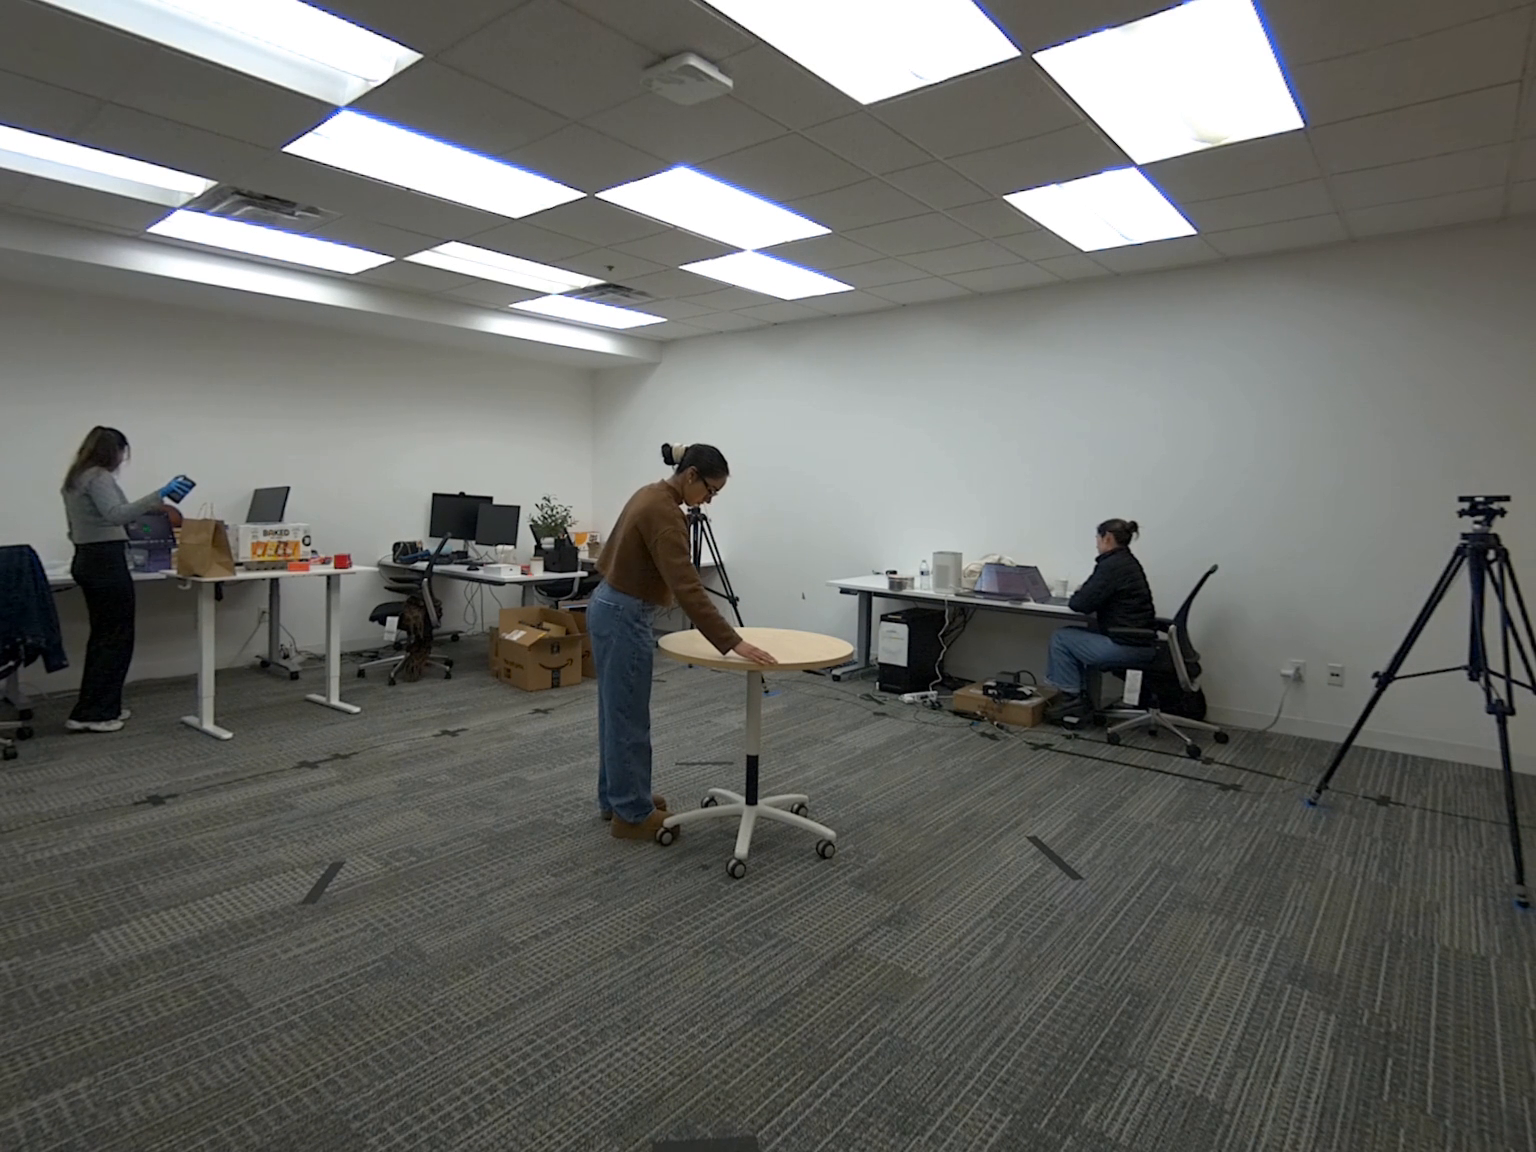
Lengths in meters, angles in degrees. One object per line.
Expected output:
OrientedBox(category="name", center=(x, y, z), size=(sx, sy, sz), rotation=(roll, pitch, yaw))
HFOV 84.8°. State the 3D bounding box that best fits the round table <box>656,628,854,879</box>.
OrientedBox(category="round table", center=(-0.065, 0.657, 3.364), size=(0.763, 0.791, 0.768), rotation=(1, 4, -2))
